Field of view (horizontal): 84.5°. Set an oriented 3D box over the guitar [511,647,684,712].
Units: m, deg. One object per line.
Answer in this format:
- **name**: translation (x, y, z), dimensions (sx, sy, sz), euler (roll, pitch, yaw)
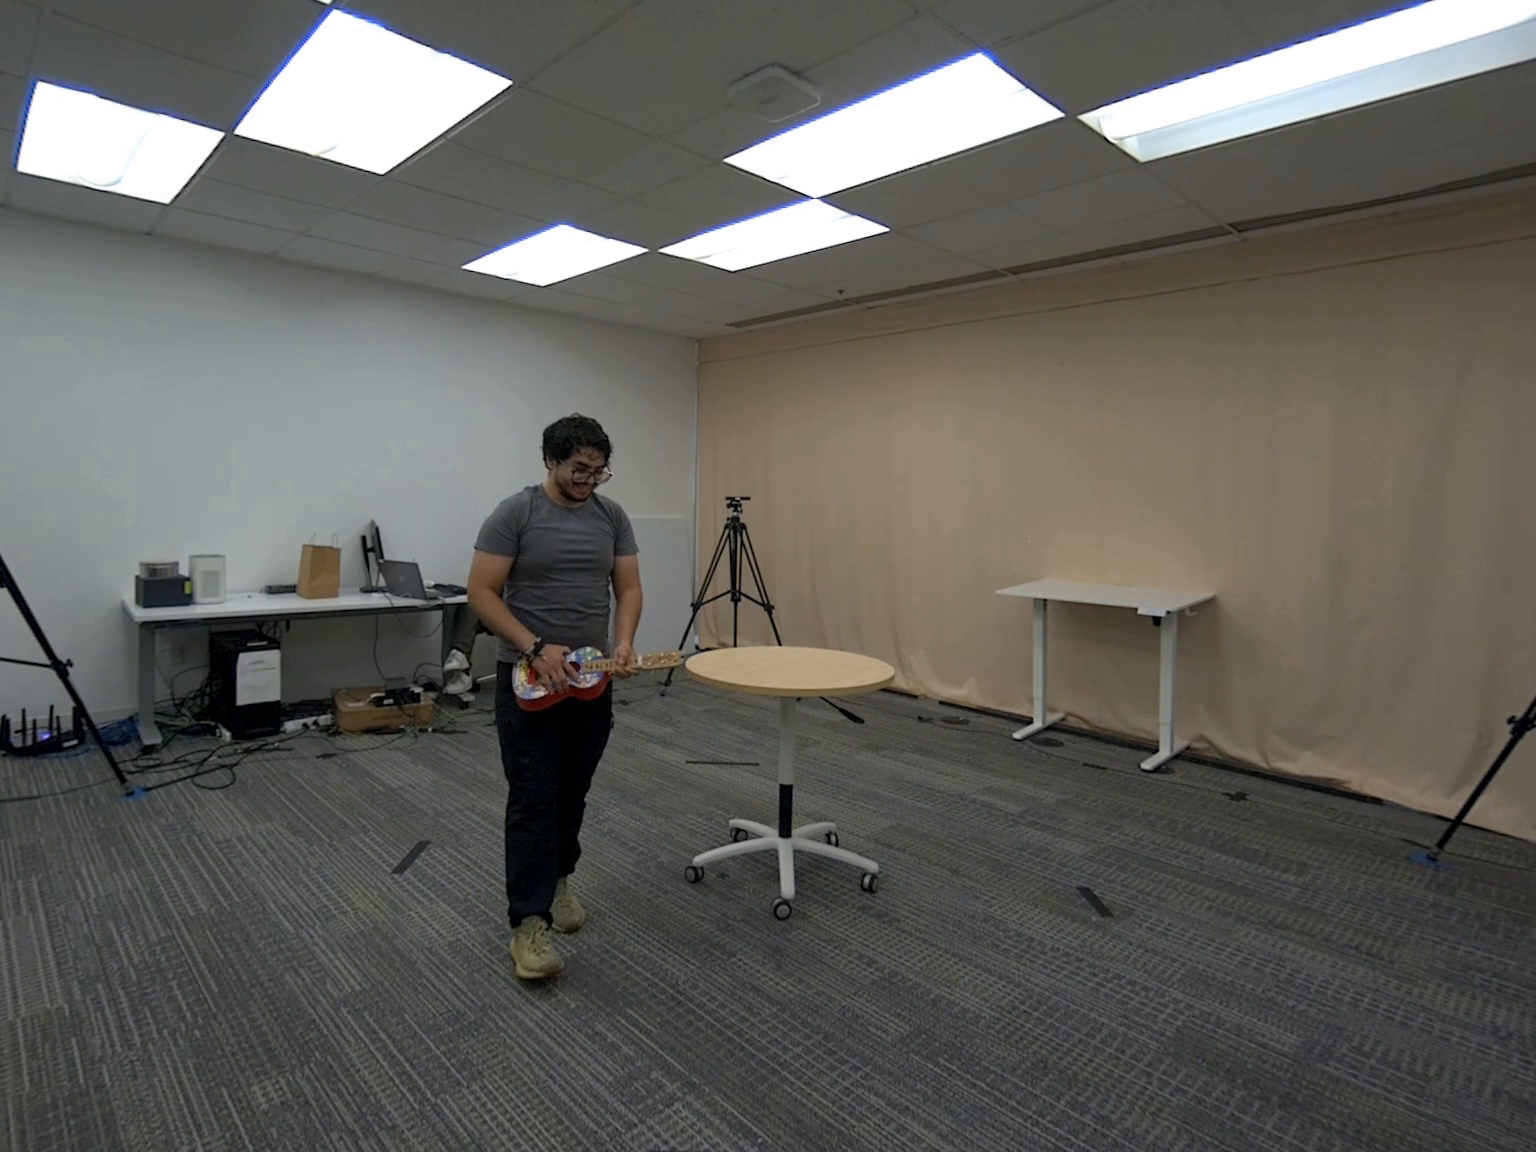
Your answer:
- **guitar**: translation (-0.488, 0.303, 2.434), dimensions (0.499, 0.069, 0.197), euler (2, 47, 2)
